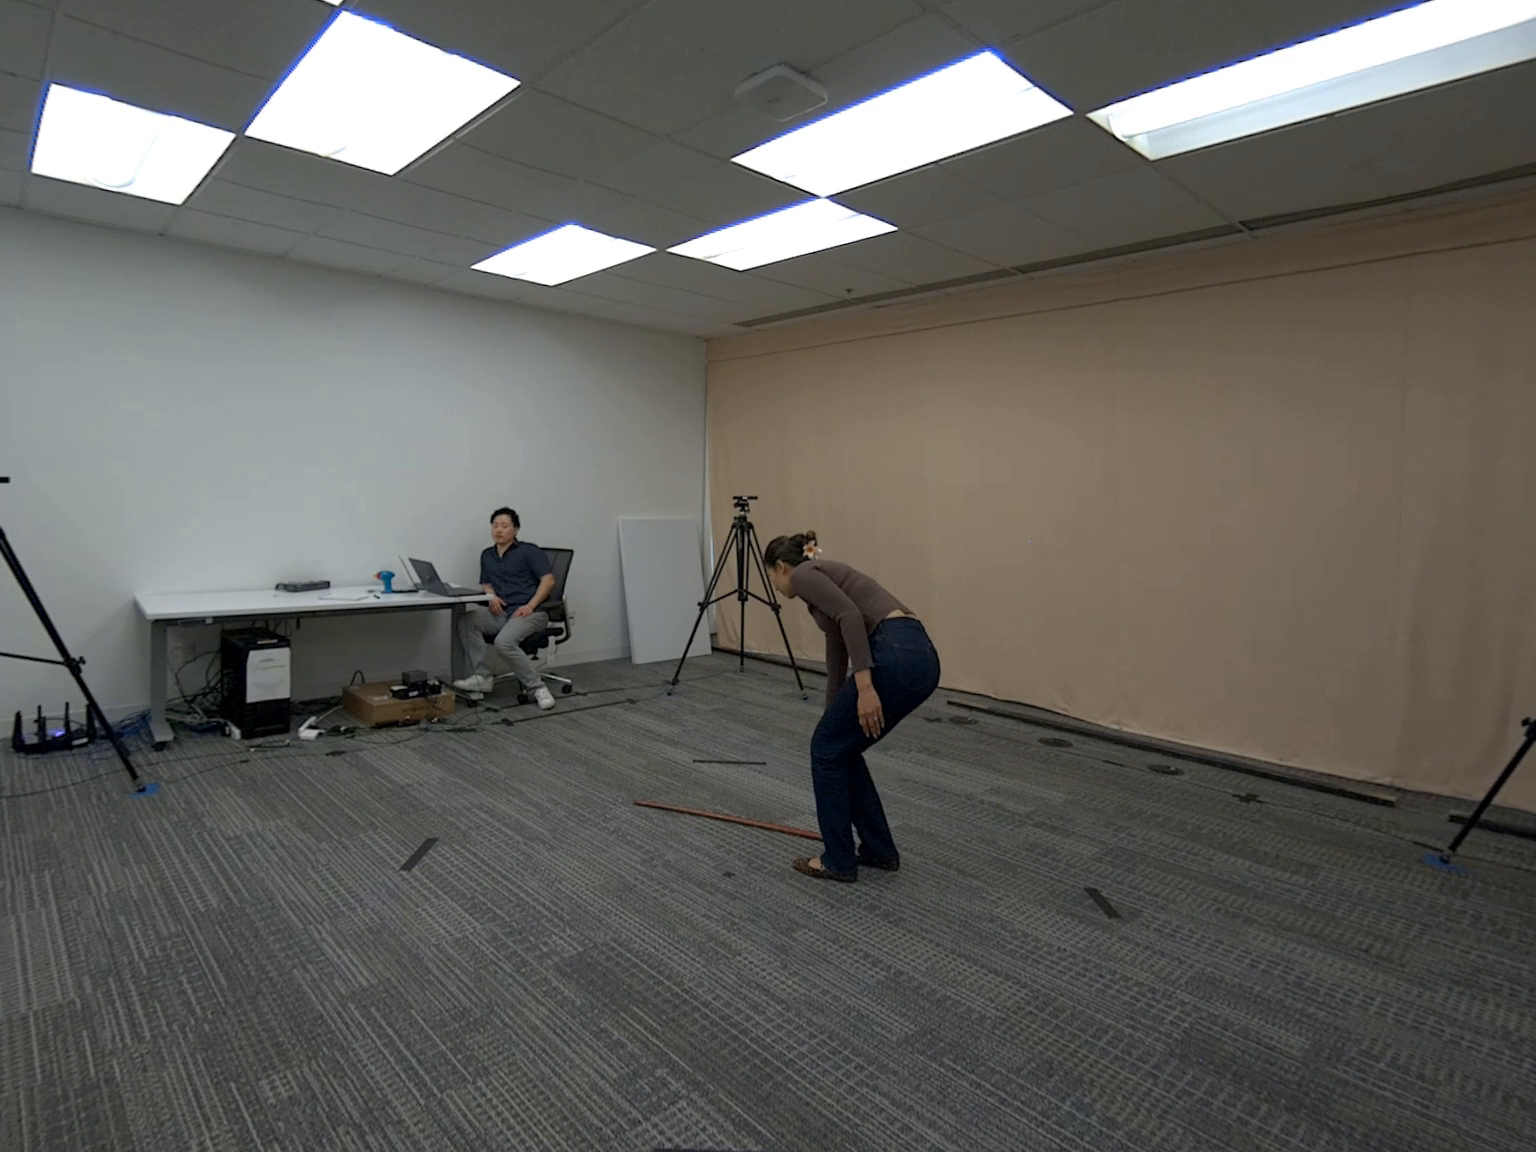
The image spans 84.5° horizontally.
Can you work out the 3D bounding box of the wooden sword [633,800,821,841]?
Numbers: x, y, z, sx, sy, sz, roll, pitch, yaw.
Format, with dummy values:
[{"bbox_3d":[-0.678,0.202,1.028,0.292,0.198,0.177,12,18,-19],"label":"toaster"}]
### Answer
[{"bbox_3d":[-0.128,1.034,3.595,1.043,0.024,0.051,3,17,23],"label":"wooden sword"}]
